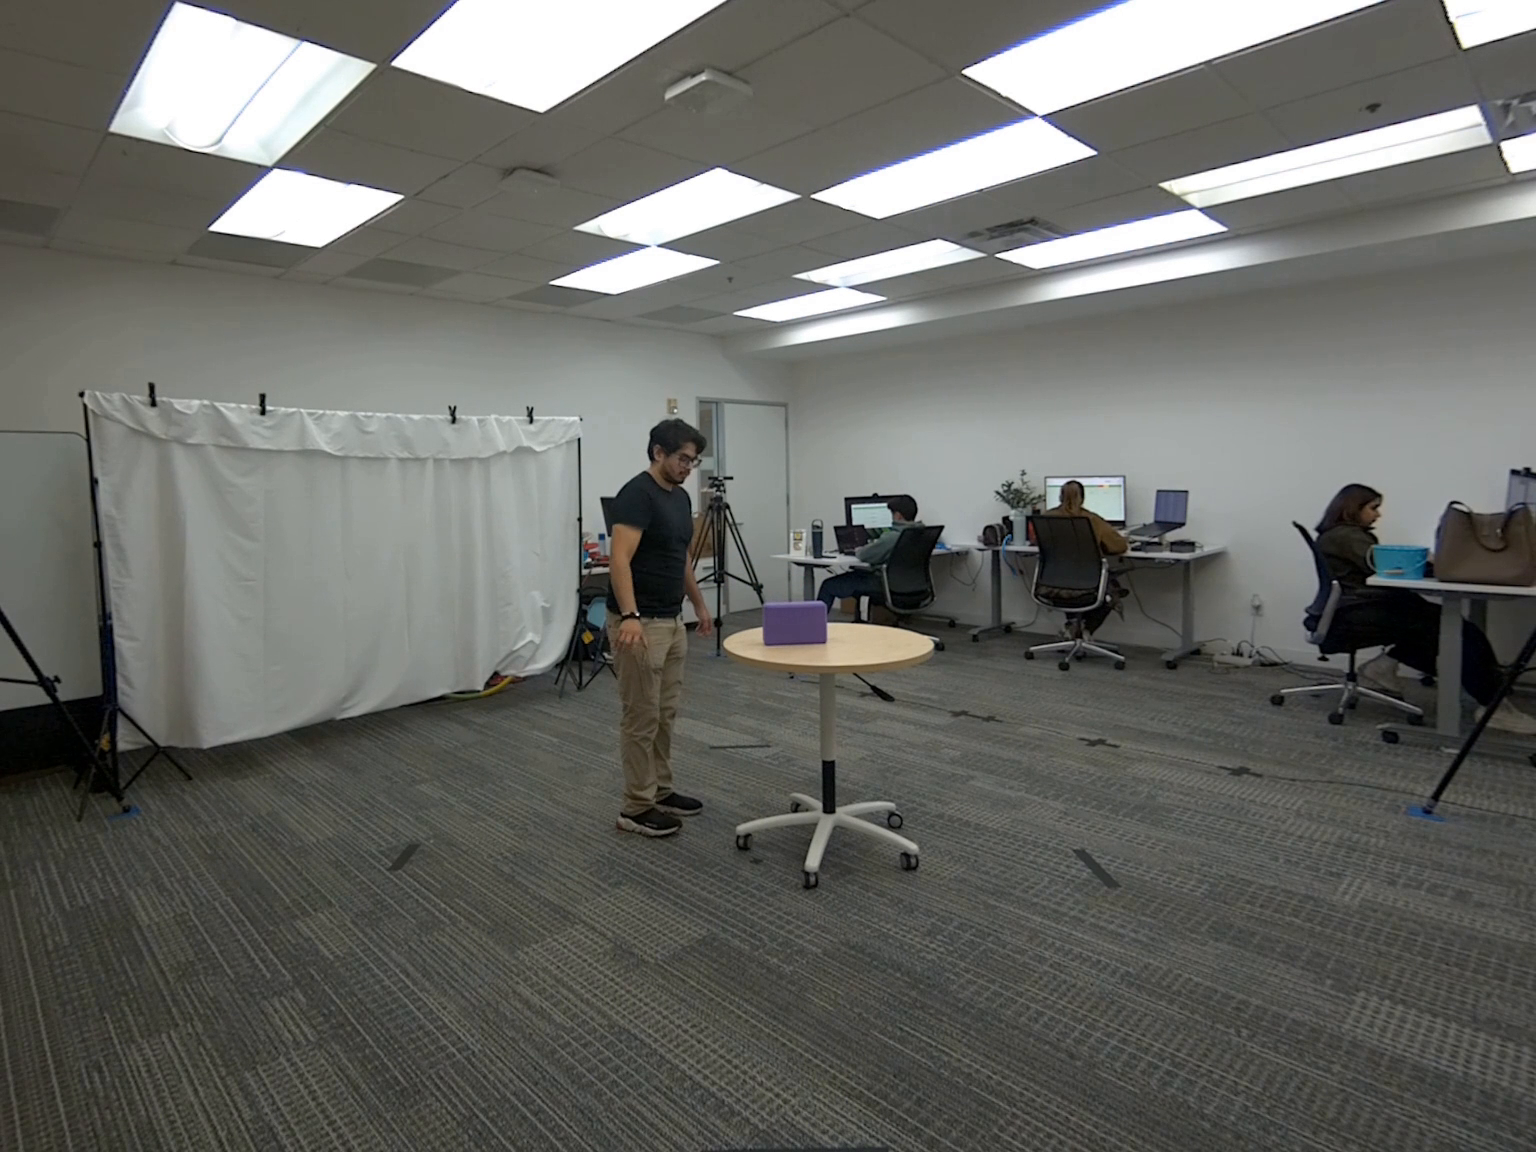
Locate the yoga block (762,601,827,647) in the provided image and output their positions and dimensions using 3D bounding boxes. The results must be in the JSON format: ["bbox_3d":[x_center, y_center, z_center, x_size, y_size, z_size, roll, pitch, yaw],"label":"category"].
[{"bbox_3d":[0.100,0.170,3.135,0.229,0.148,0.077,-1,4,-1],"label":"yoga block"}]
